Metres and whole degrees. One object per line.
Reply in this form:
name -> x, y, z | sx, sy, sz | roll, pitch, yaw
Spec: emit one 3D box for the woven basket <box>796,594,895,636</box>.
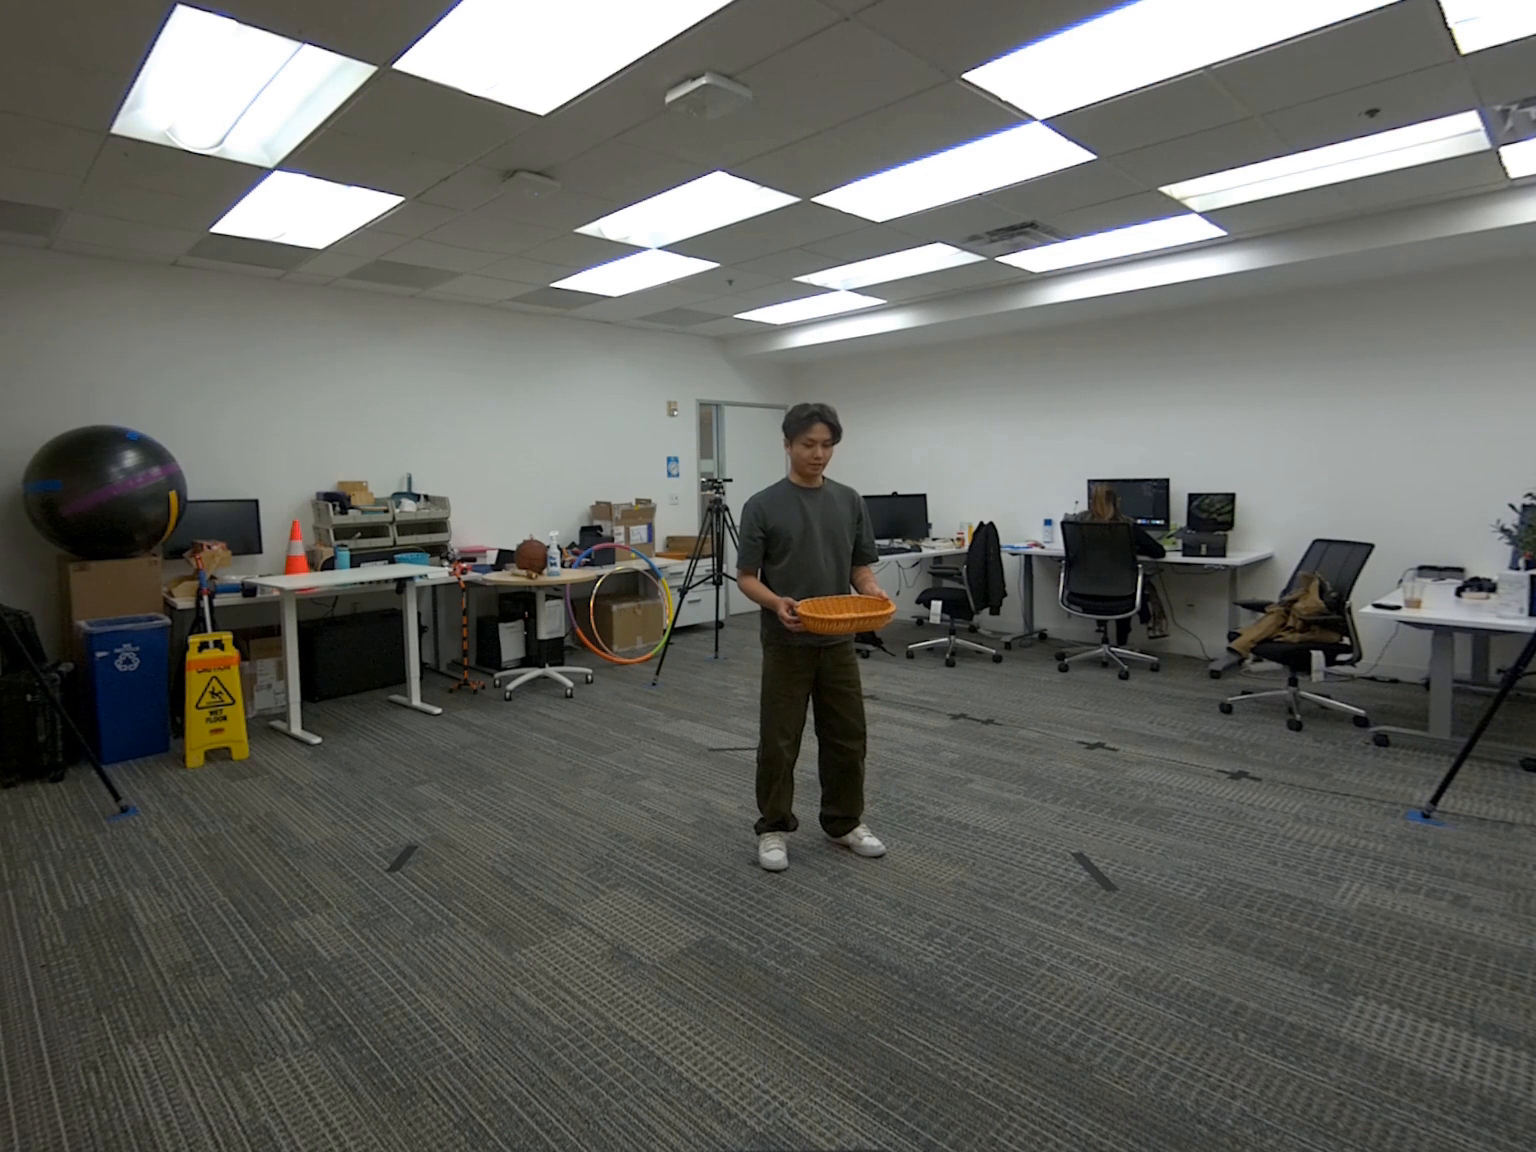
woven basket -> 0.242, 0.138, 2.865 | 0.346, 0.072, 0.258 | -4, 13, -14
